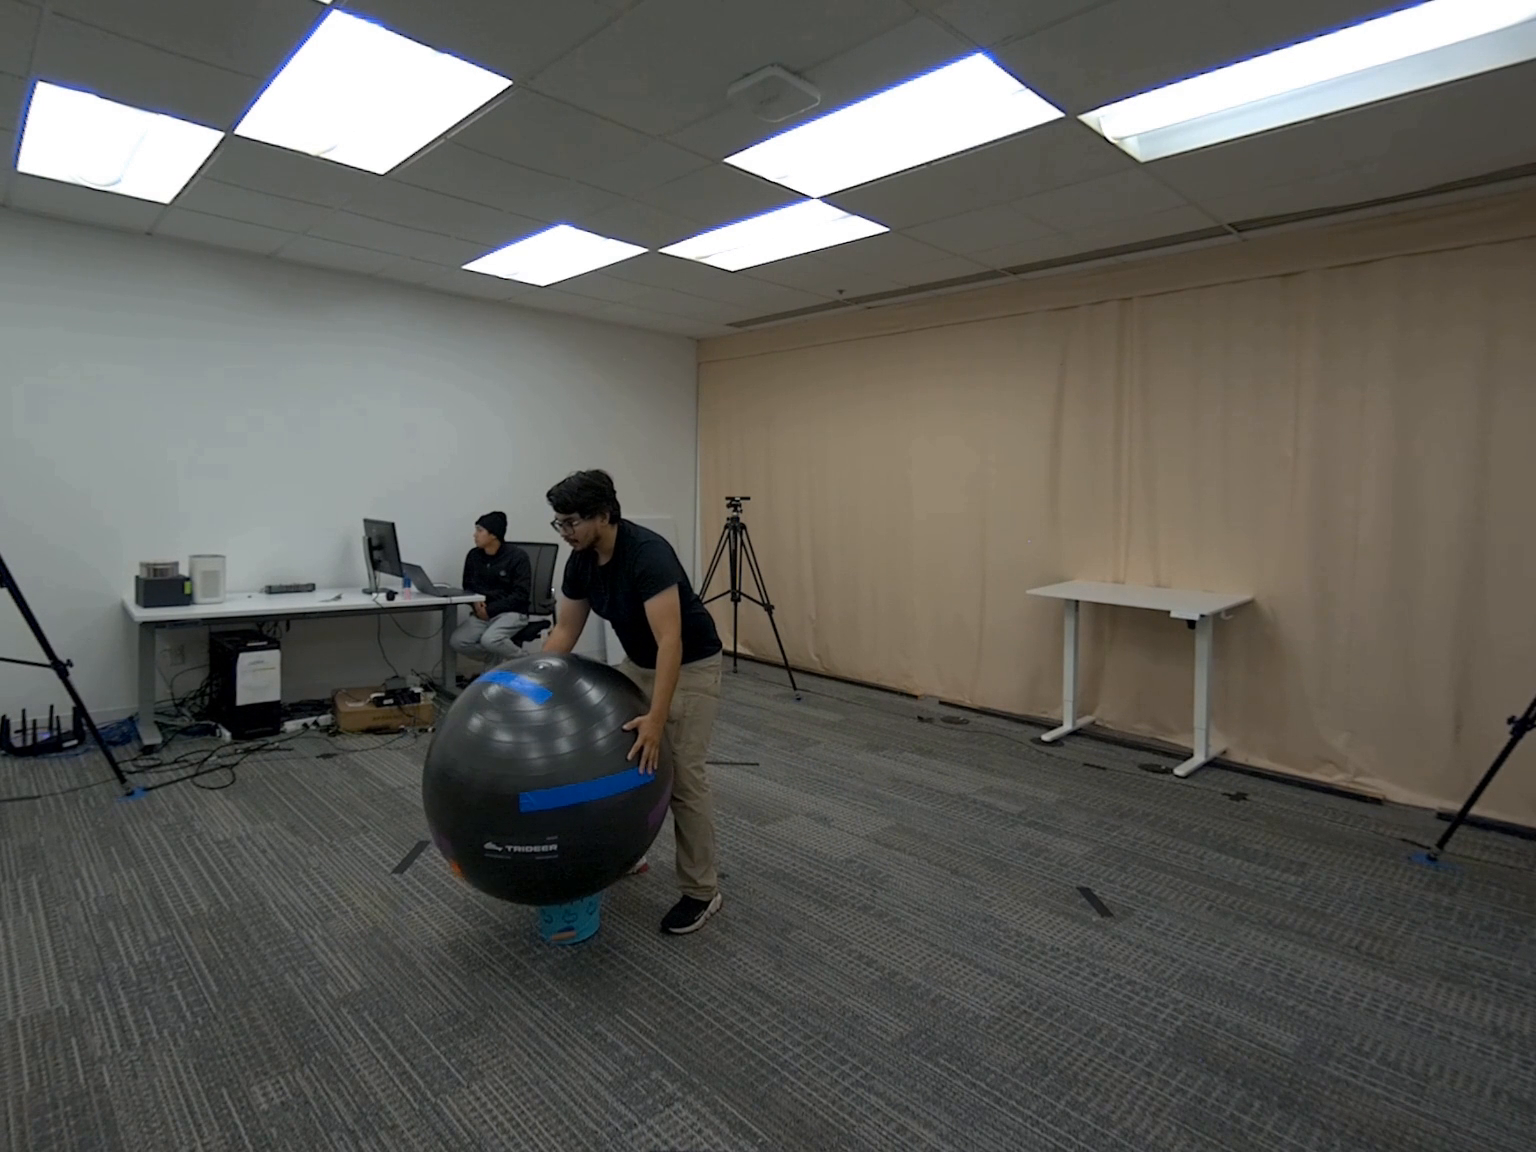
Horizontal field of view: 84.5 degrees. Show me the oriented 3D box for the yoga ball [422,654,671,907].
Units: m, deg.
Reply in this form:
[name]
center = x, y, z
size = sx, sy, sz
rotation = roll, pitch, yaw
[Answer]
[yoga ball]
center = -0.683, 0.631, 2.613
size = 0.757, 0.756, 0.760
rotation = 1, 4, -1
